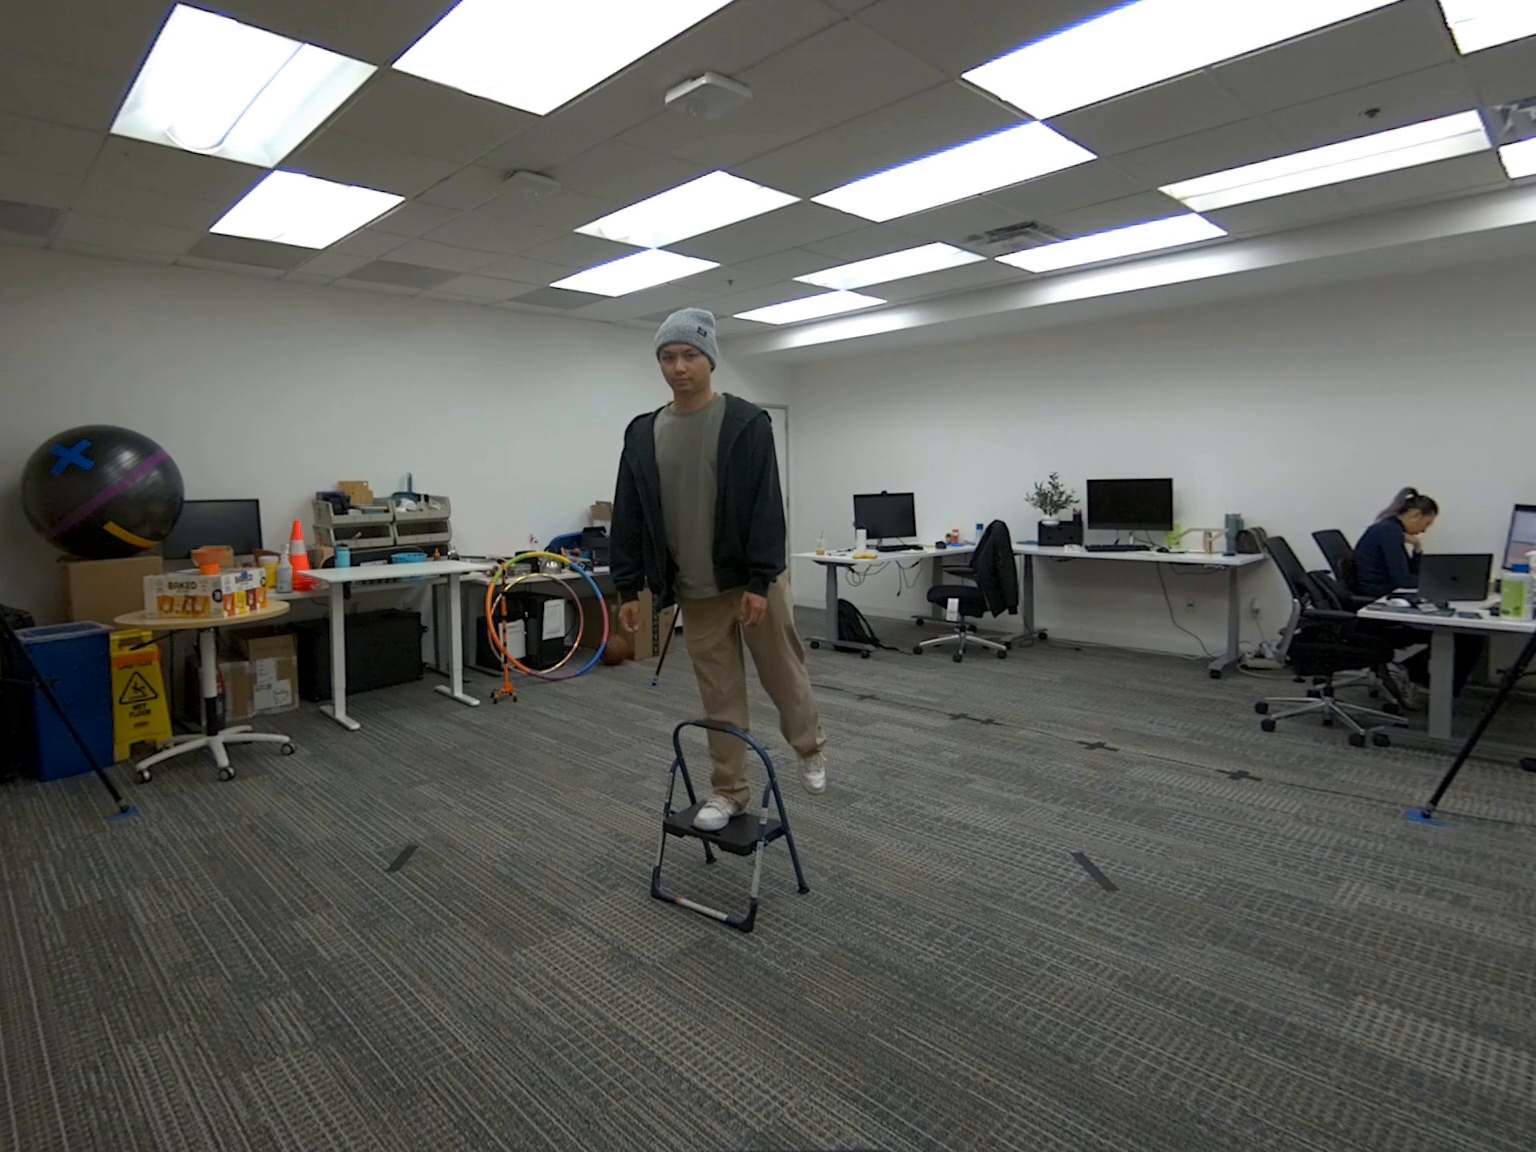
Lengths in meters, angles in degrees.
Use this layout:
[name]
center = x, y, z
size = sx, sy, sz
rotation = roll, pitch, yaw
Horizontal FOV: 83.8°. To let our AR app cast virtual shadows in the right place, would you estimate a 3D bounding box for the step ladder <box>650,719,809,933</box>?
[step ladder]
center = -0.135, 0.772, 2.864
size = 0.443, 0.604, 0.341
rotation = 2, 6, 35
